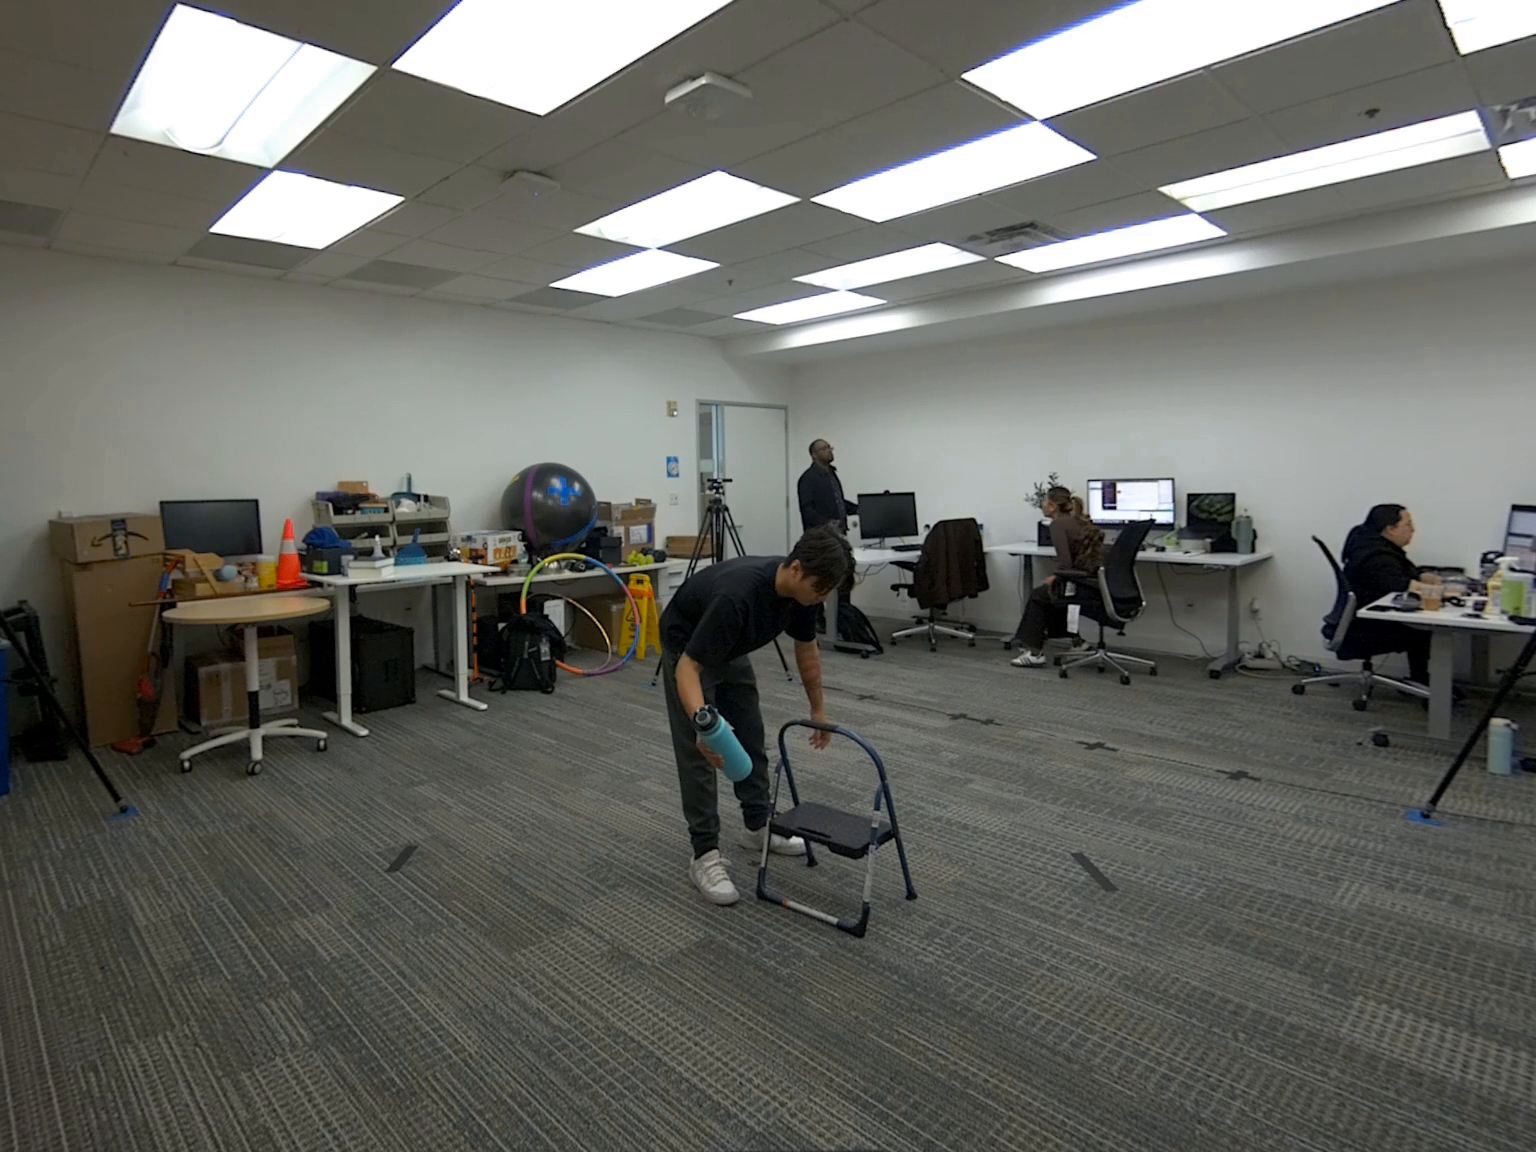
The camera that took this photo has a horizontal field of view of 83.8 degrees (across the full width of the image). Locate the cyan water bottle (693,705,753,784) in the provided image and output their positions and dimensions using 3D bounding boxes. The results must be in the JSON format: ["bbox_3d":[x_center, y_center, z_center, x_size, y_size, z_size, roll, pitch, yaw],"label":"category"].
[{"bbox_3d":[-0.129,0.495,2.503,0.093,0.273,0.095,-17,38,12],"label":"cyan water bottle"}]
